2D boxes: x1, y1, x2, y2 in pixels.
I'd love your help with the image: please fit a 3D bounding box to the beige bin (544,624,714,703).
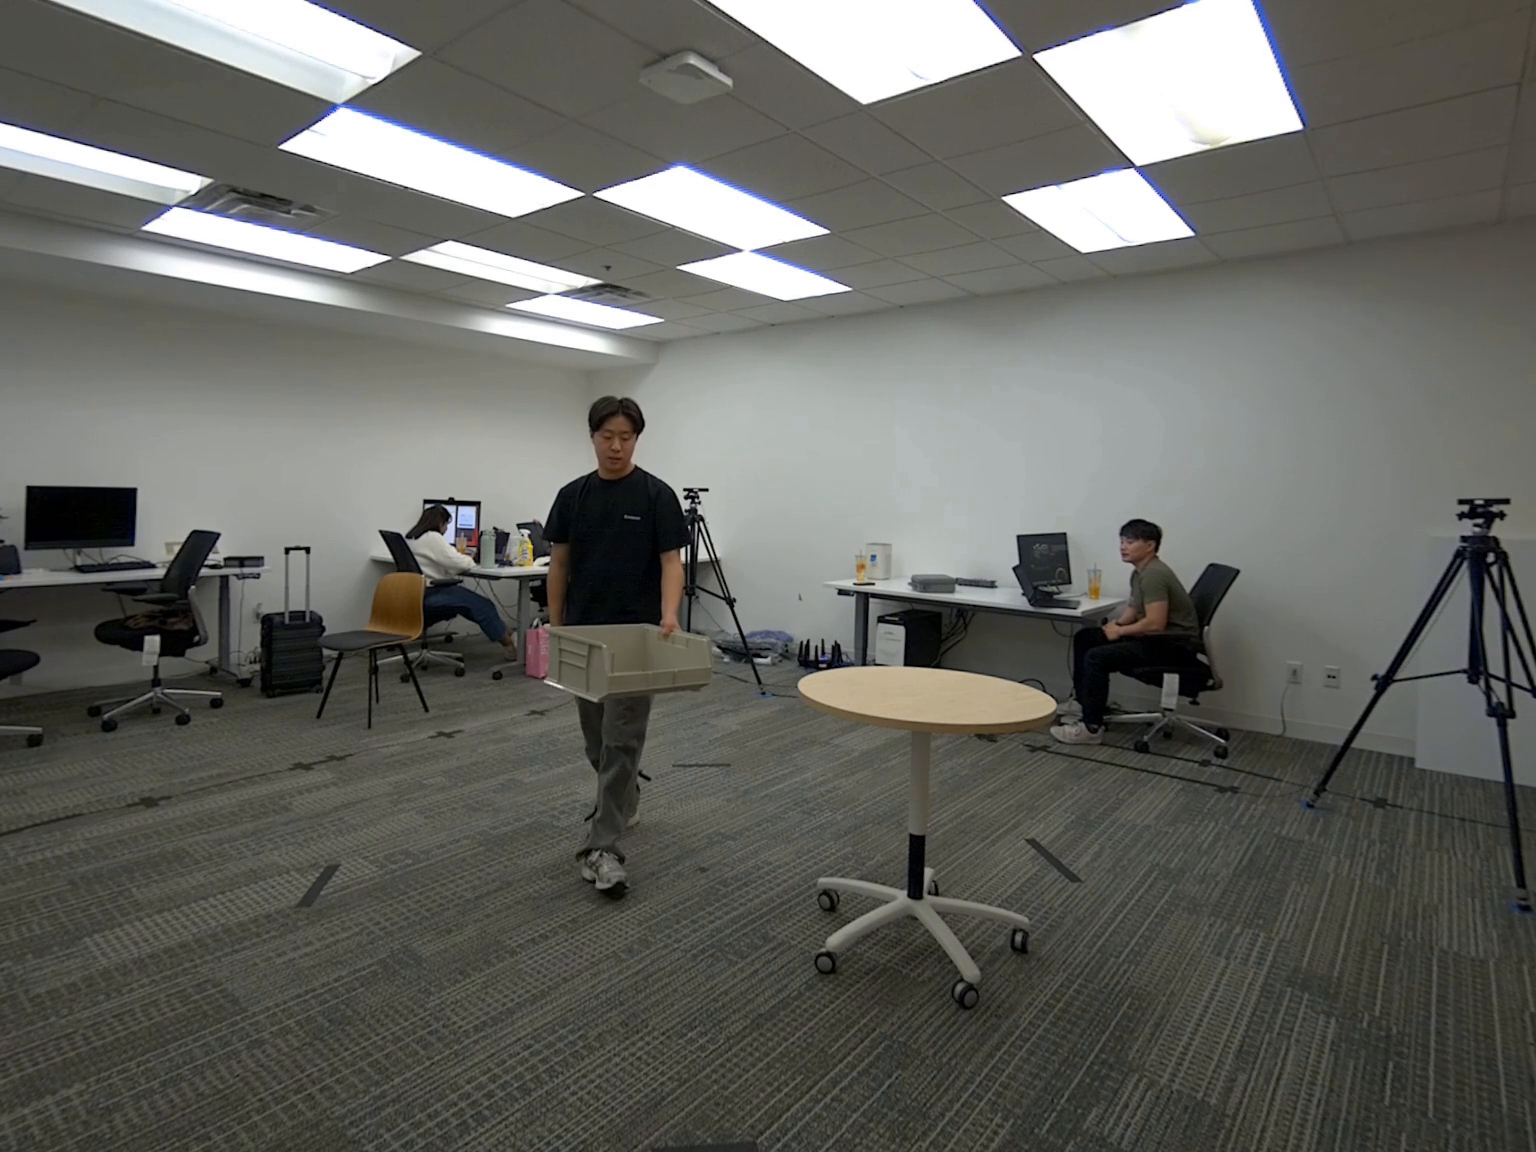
[{"bbox_3d":[-0.458,0.269,2.748,0.408,0.189,0.390,1,3,-44],"label":"beige bin"}]
